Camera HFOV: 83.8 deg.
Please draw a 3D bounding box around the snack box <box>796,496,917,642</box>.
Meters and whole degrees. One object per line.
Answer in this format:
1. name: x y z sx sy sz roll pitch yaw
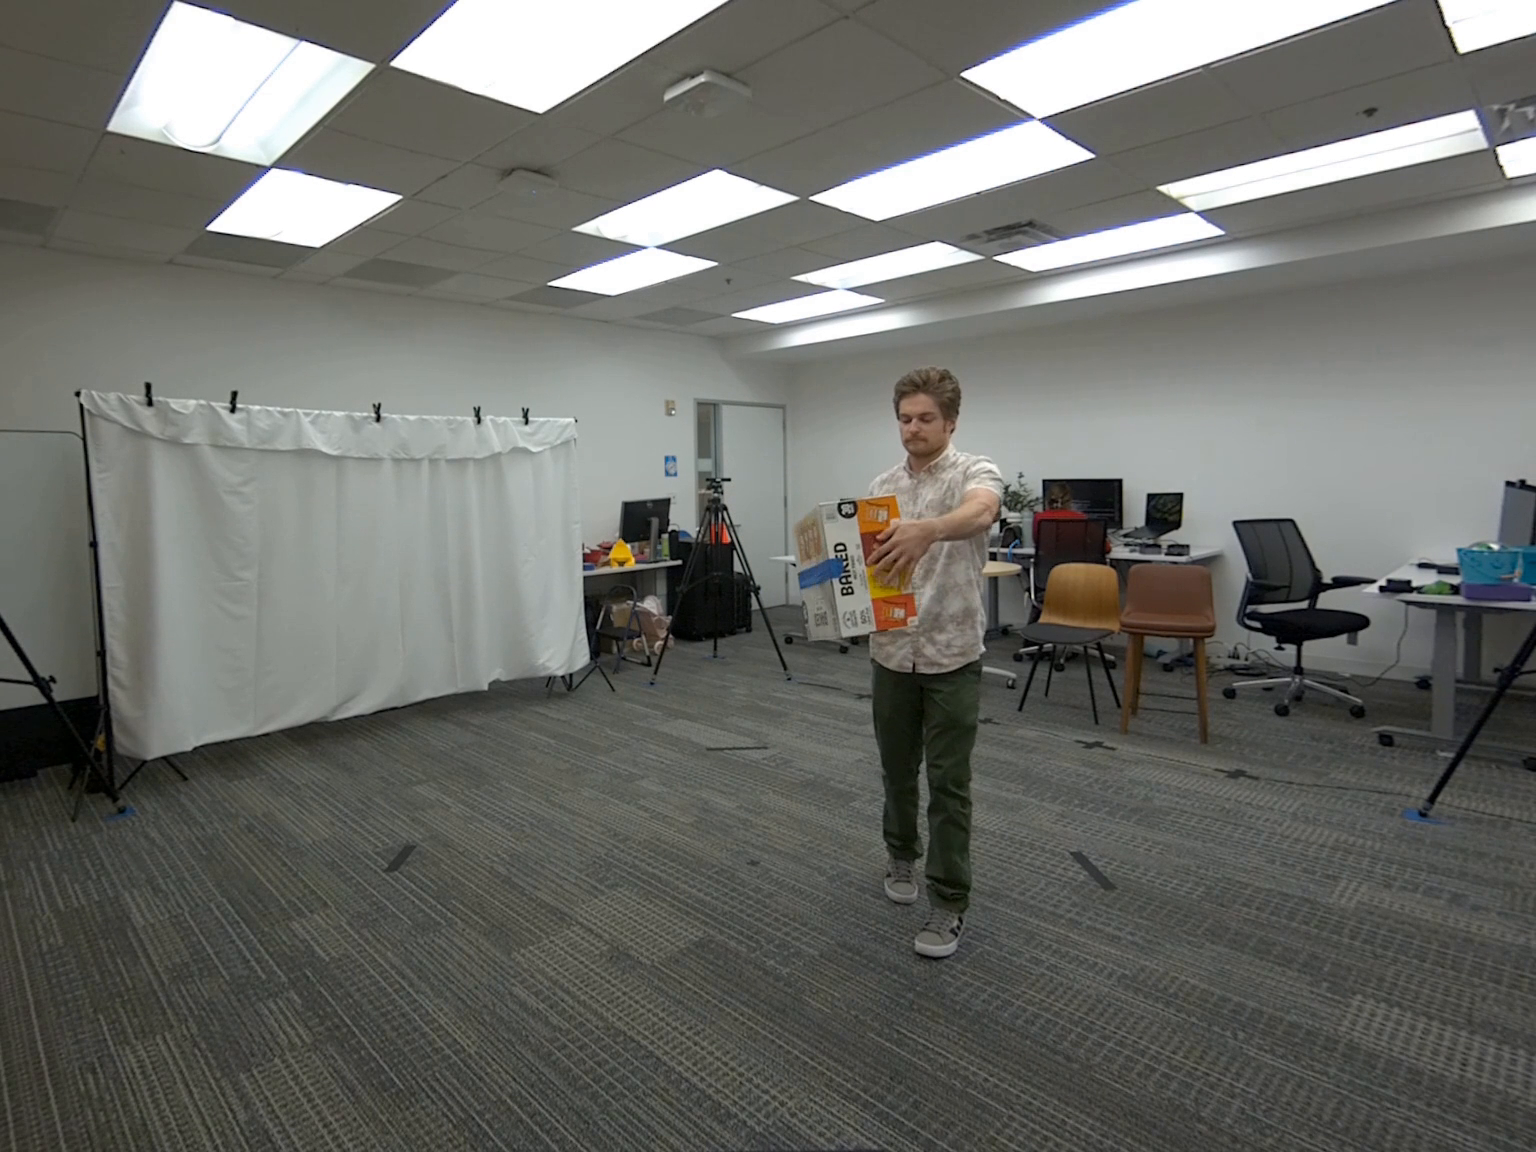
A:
1. snack box: 0.222 -0.014 2.352 0.205 0.343 0.404 -7 -5 -6
